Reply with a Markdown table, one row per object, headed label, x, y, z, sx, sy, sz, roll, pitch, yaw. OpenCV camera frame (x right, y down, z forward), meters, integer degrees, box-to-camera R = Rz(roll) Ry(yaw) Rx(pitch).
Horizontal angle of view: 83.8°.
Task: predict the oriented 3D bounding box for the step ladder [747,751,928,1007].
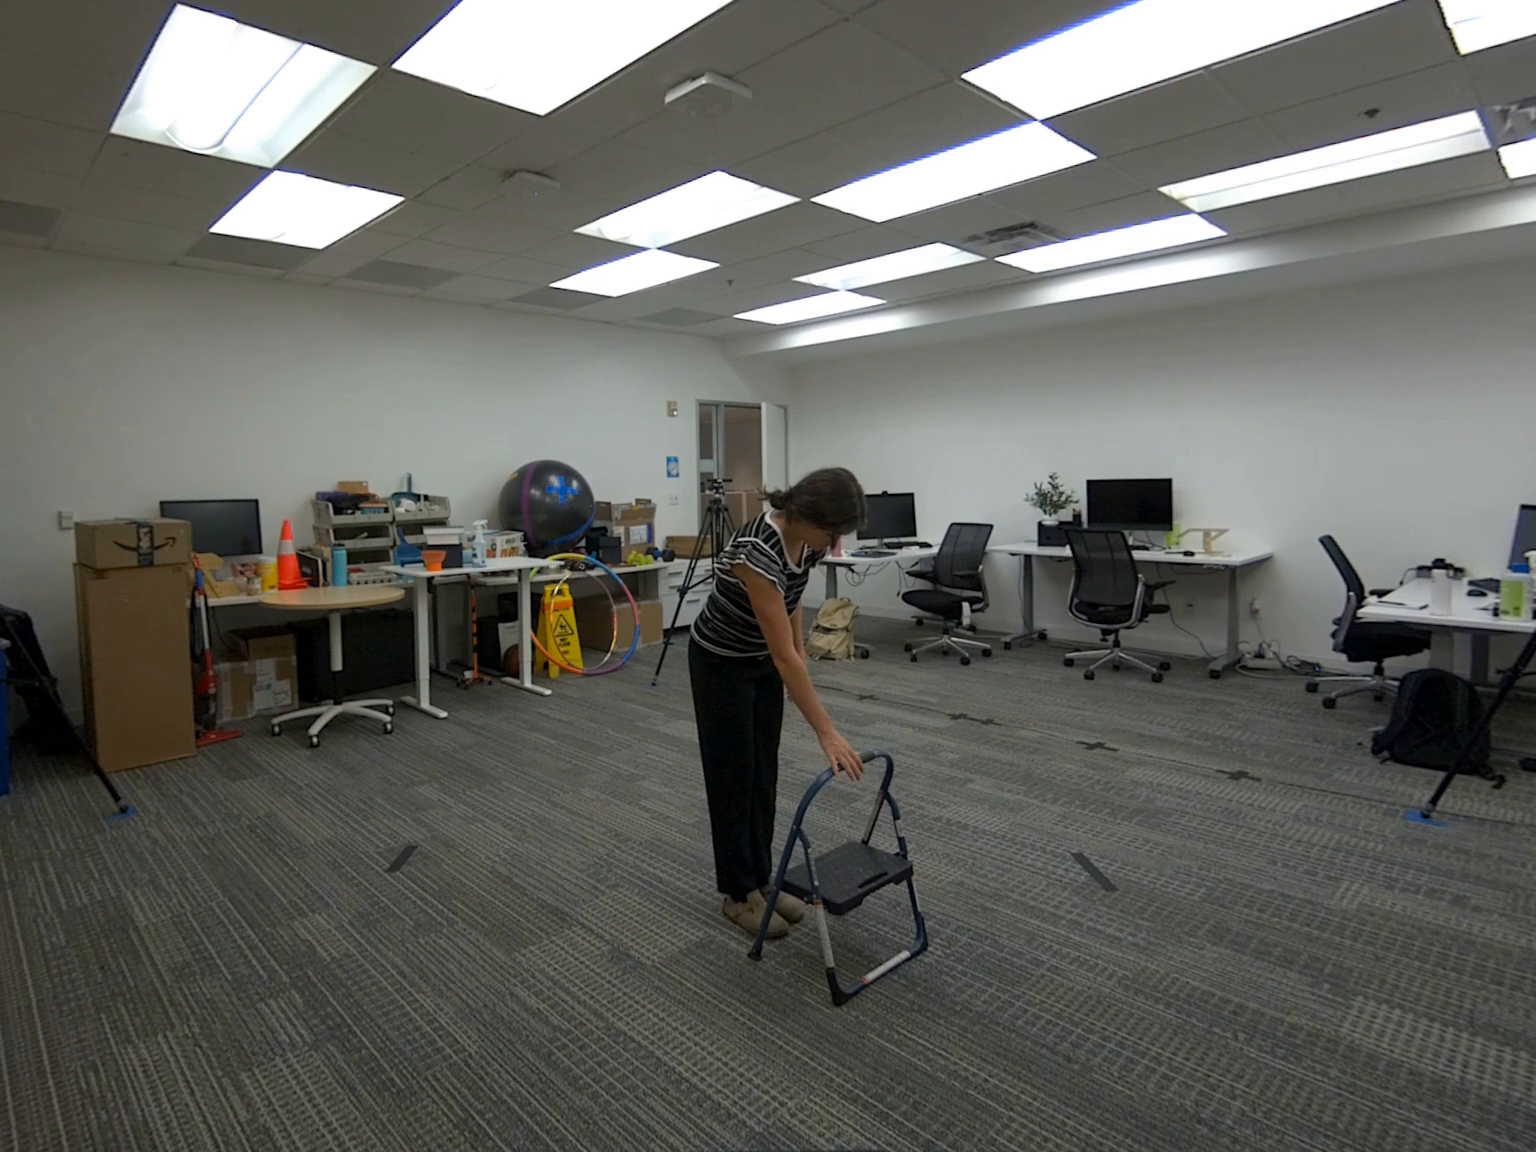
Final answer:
| label | x | y | z | sx | sy | sz | roll | pitch | yaw |
| --- | --- | --- | --- | --- | --- | --- | --- | --- | --- |
| step ladder | 0.209 | 0.807 | 2.497 | 0.419 | 0.604 | 0.360 | -6 | 6 | -44 |
